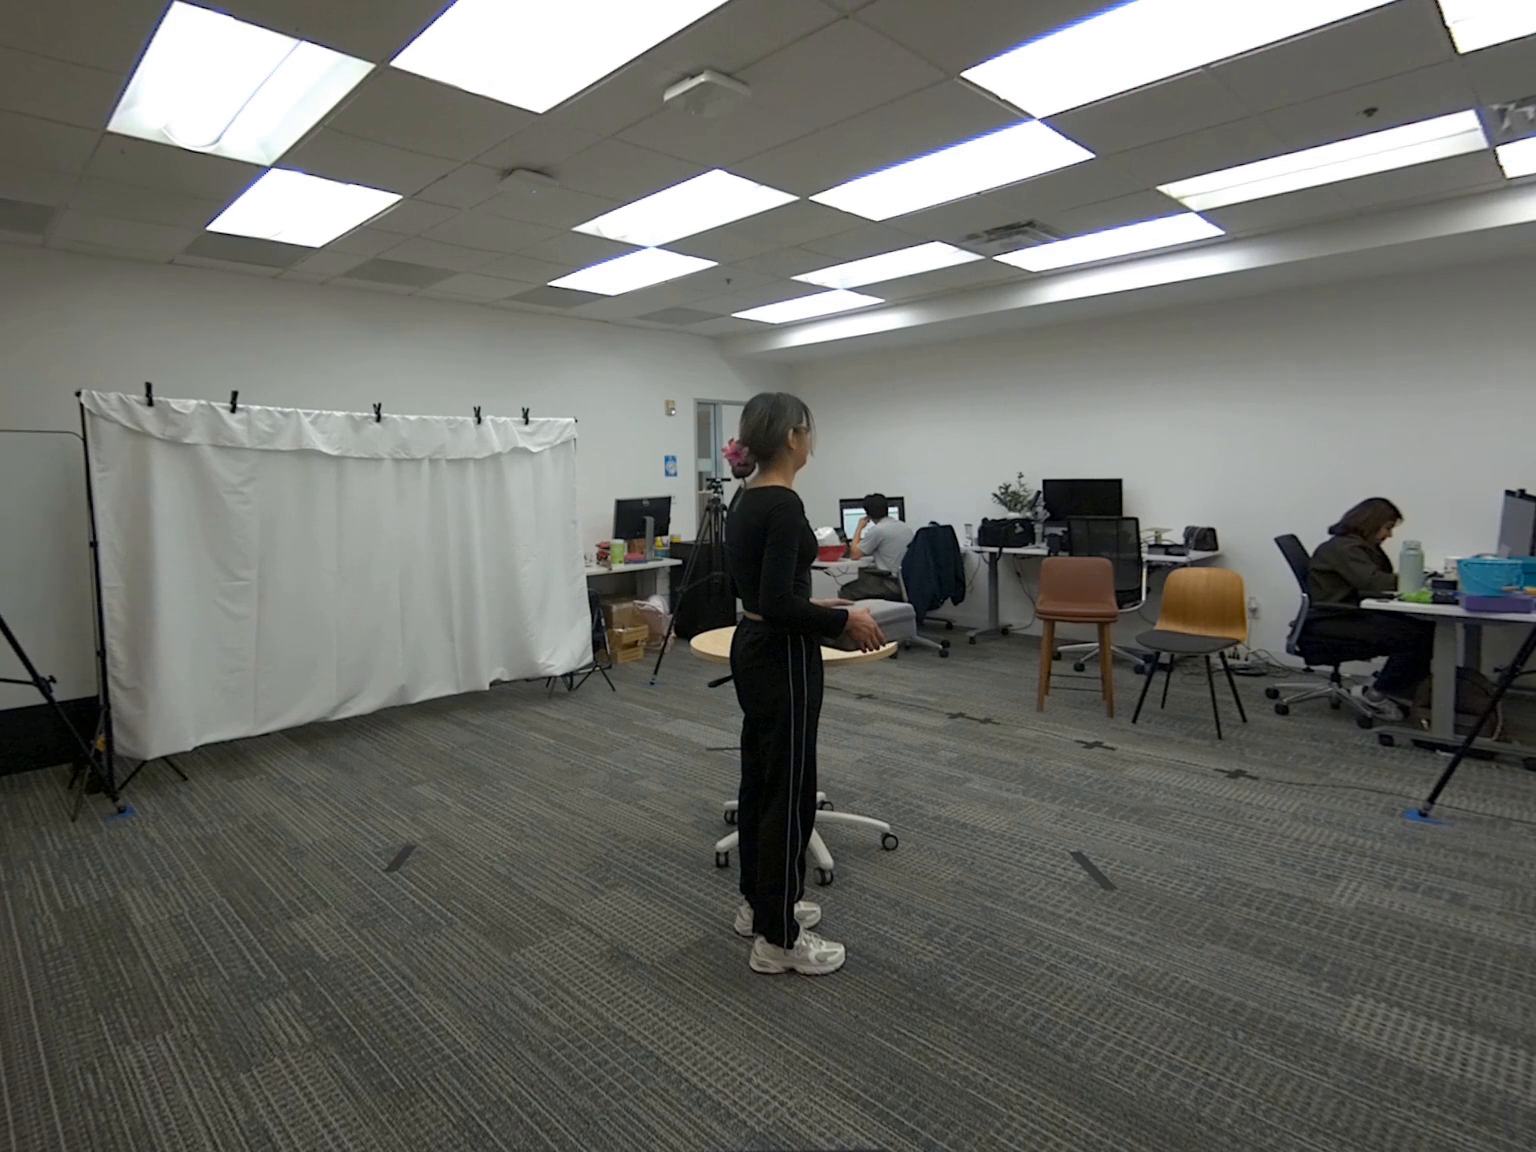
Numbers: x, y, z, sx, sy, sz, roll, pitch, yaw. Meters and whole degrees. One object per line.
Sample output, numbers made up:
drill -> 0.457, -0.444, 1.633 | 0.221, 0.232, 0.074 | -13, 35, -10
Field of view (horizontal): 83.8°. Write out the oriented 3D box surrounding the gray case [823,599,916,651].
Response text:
gray case -> 0.268, 0.144, 2.562 | 0.257, 0.104, 0.262 | -10, 8, -18
